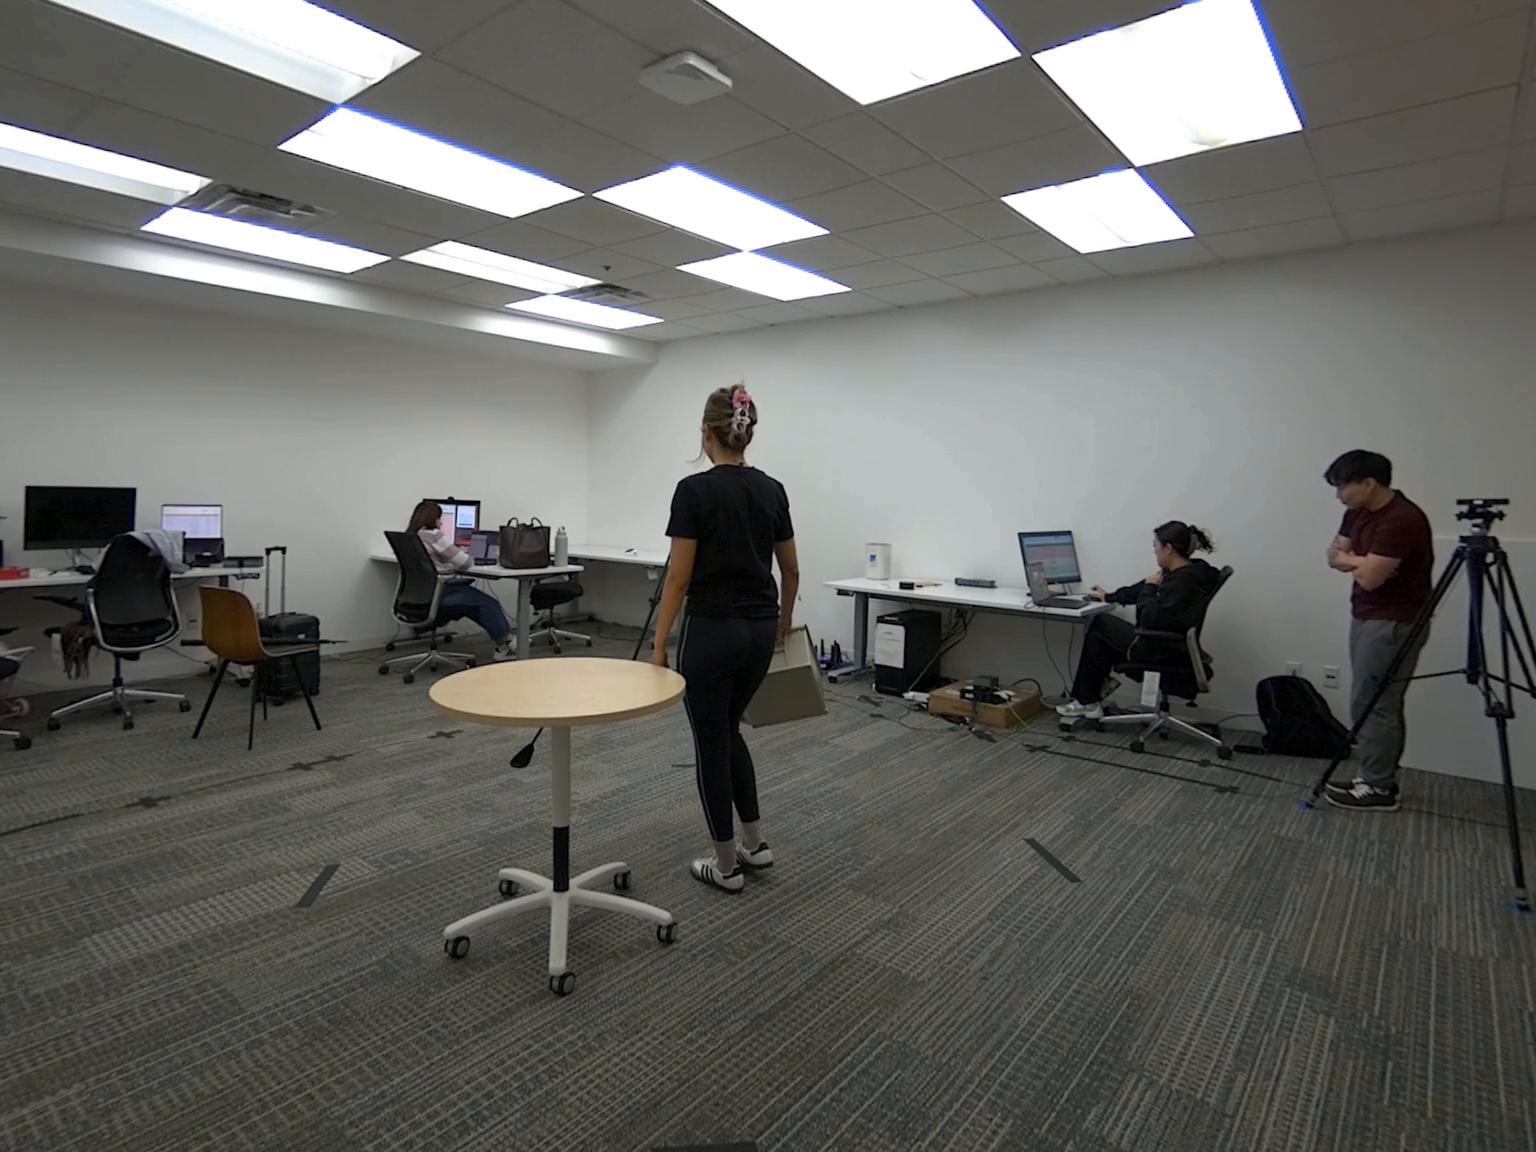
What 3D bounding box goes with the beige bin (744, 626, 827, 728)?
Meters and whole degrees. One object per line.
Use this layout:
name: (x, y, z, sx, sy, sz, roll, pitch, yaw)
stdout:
beige bin: (0.005, 0.410, 3.397, 0.380, 0.195, 0.406, -11, -39, 8)
